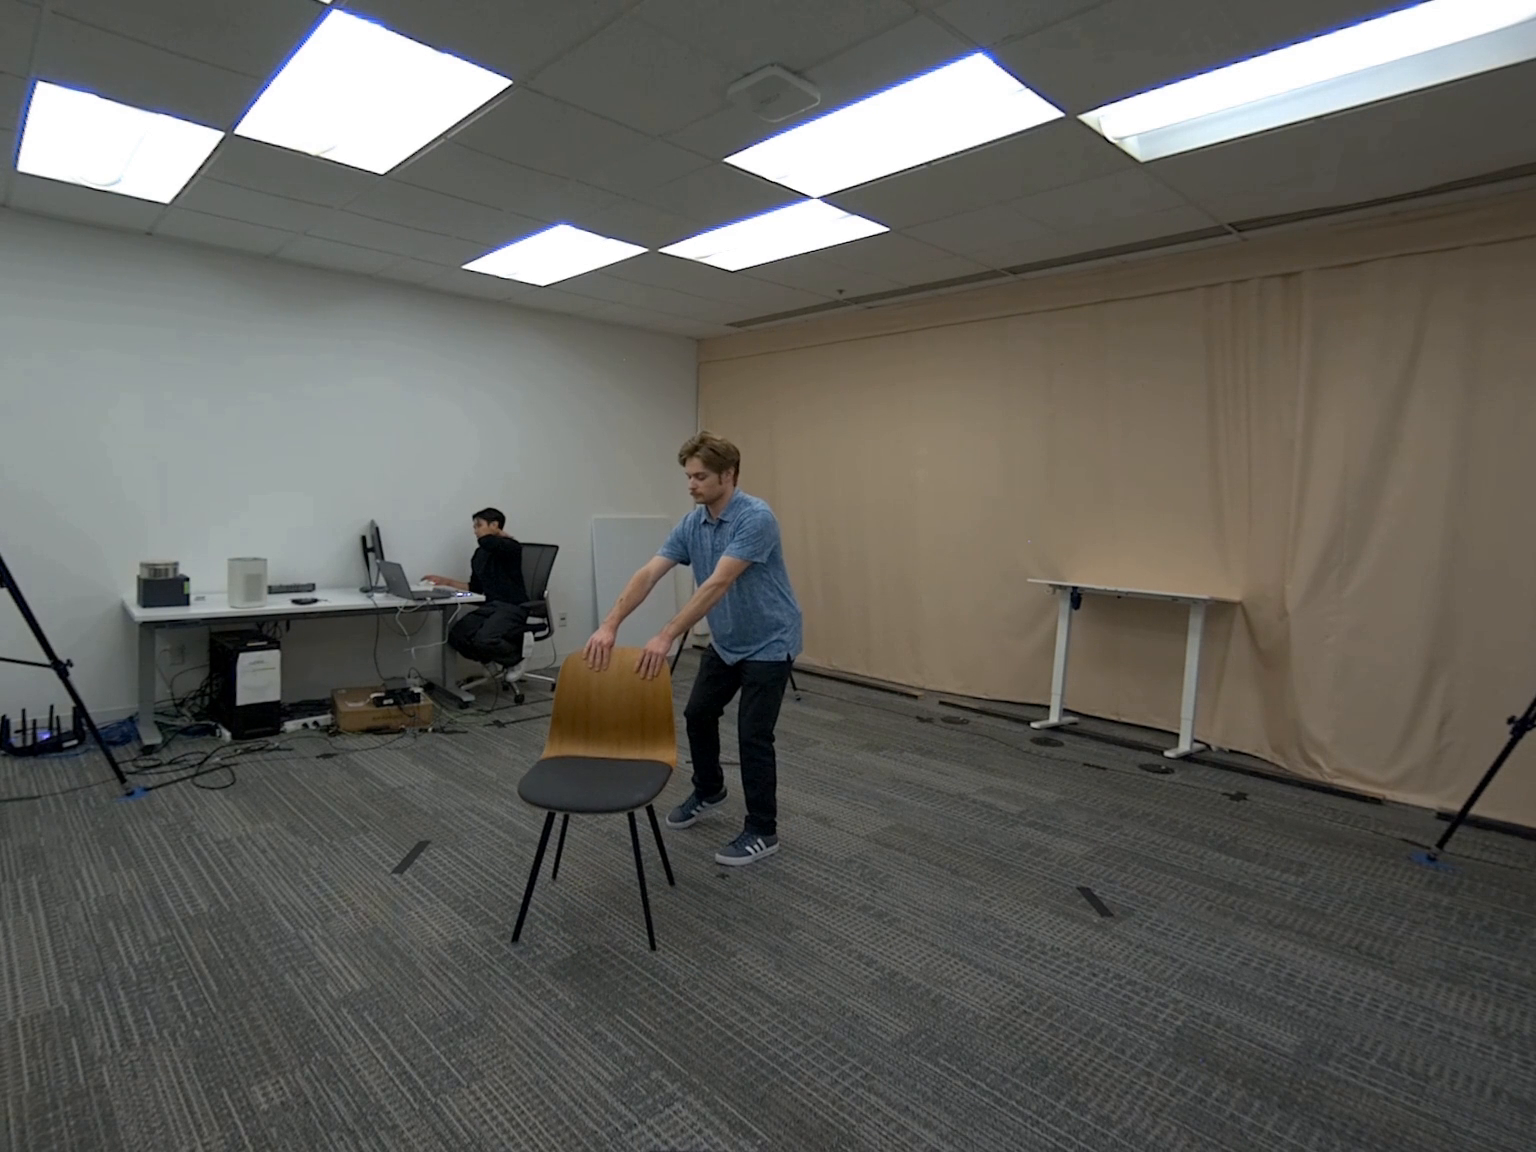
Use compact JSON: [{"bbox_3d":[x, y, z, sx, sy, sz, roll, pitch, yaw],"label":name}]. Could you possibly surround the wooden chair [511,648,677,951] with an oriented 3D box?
[{"bbox_3d":[-0.554,0.700,2.775,0.479,0.878,0.521,2,-1,2],"label":"wooden chair"}]
